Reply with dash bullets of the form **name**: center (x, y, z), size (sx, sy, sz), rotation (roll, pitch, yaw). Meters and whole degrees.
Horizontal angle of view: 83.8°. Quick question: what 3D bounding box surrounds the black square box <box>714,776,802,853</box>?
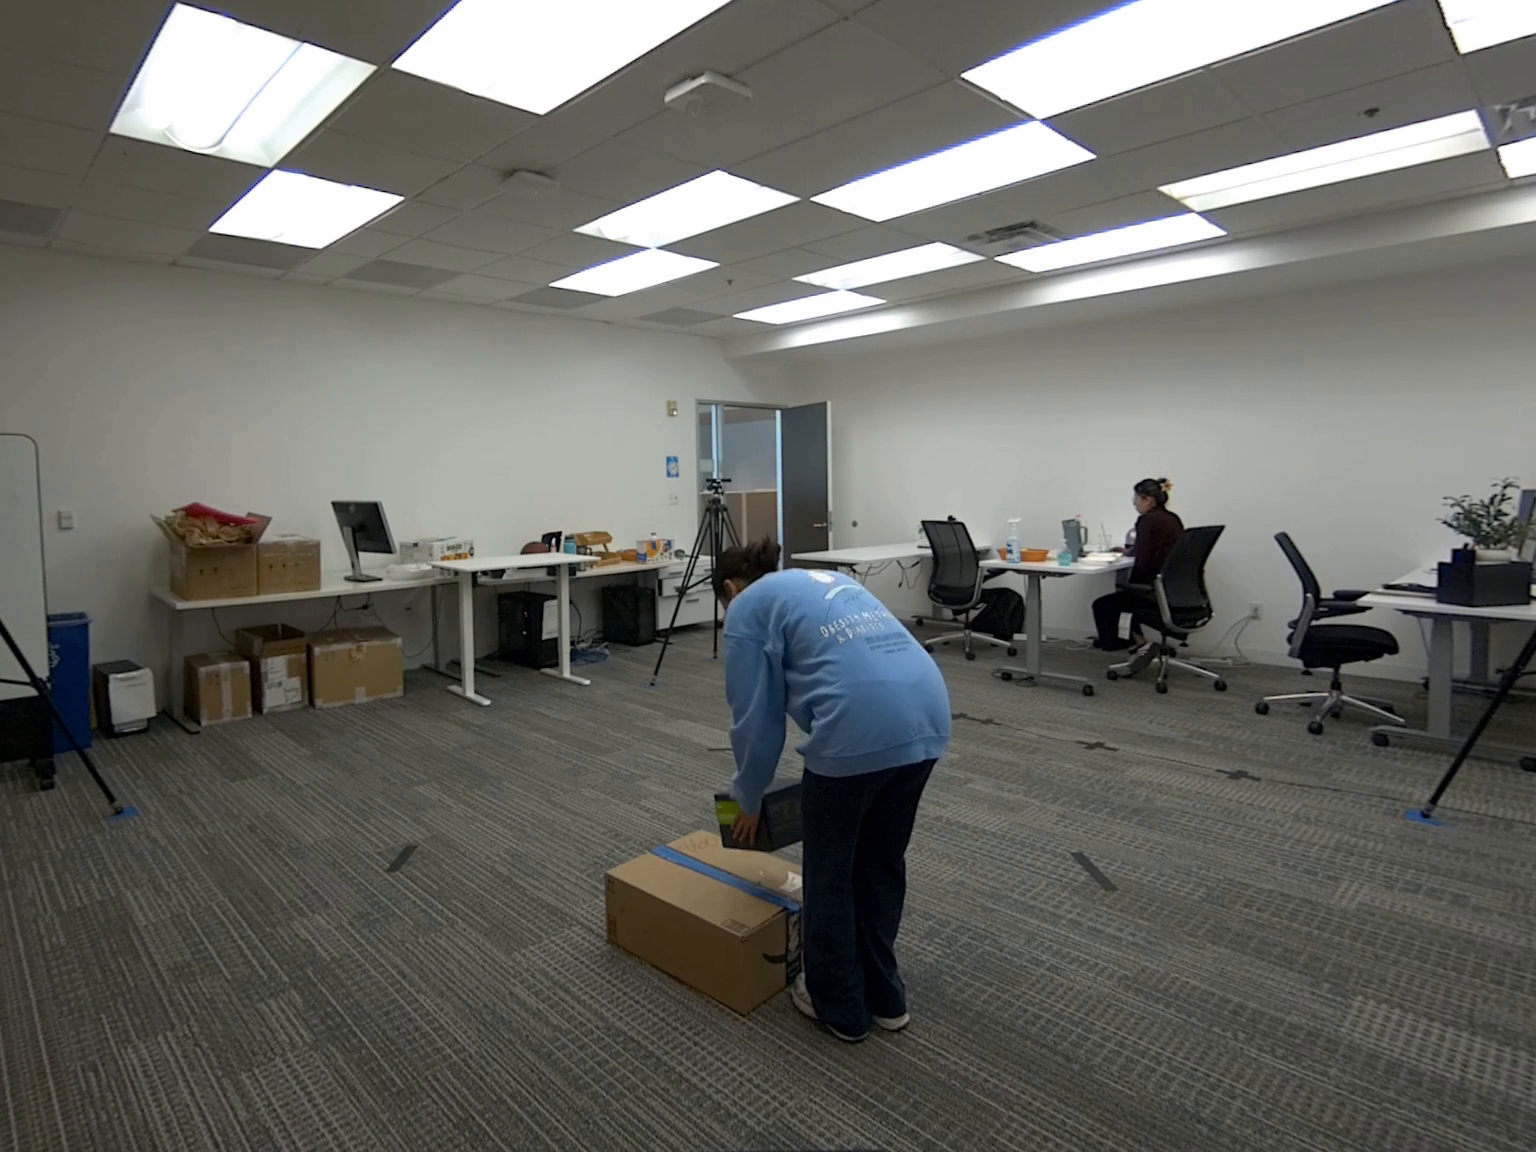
- **black square box**: center (0.002, 0.680, 2.490), size (0.211, 0.157, 0.232), rotation (-5, -7, -40)
